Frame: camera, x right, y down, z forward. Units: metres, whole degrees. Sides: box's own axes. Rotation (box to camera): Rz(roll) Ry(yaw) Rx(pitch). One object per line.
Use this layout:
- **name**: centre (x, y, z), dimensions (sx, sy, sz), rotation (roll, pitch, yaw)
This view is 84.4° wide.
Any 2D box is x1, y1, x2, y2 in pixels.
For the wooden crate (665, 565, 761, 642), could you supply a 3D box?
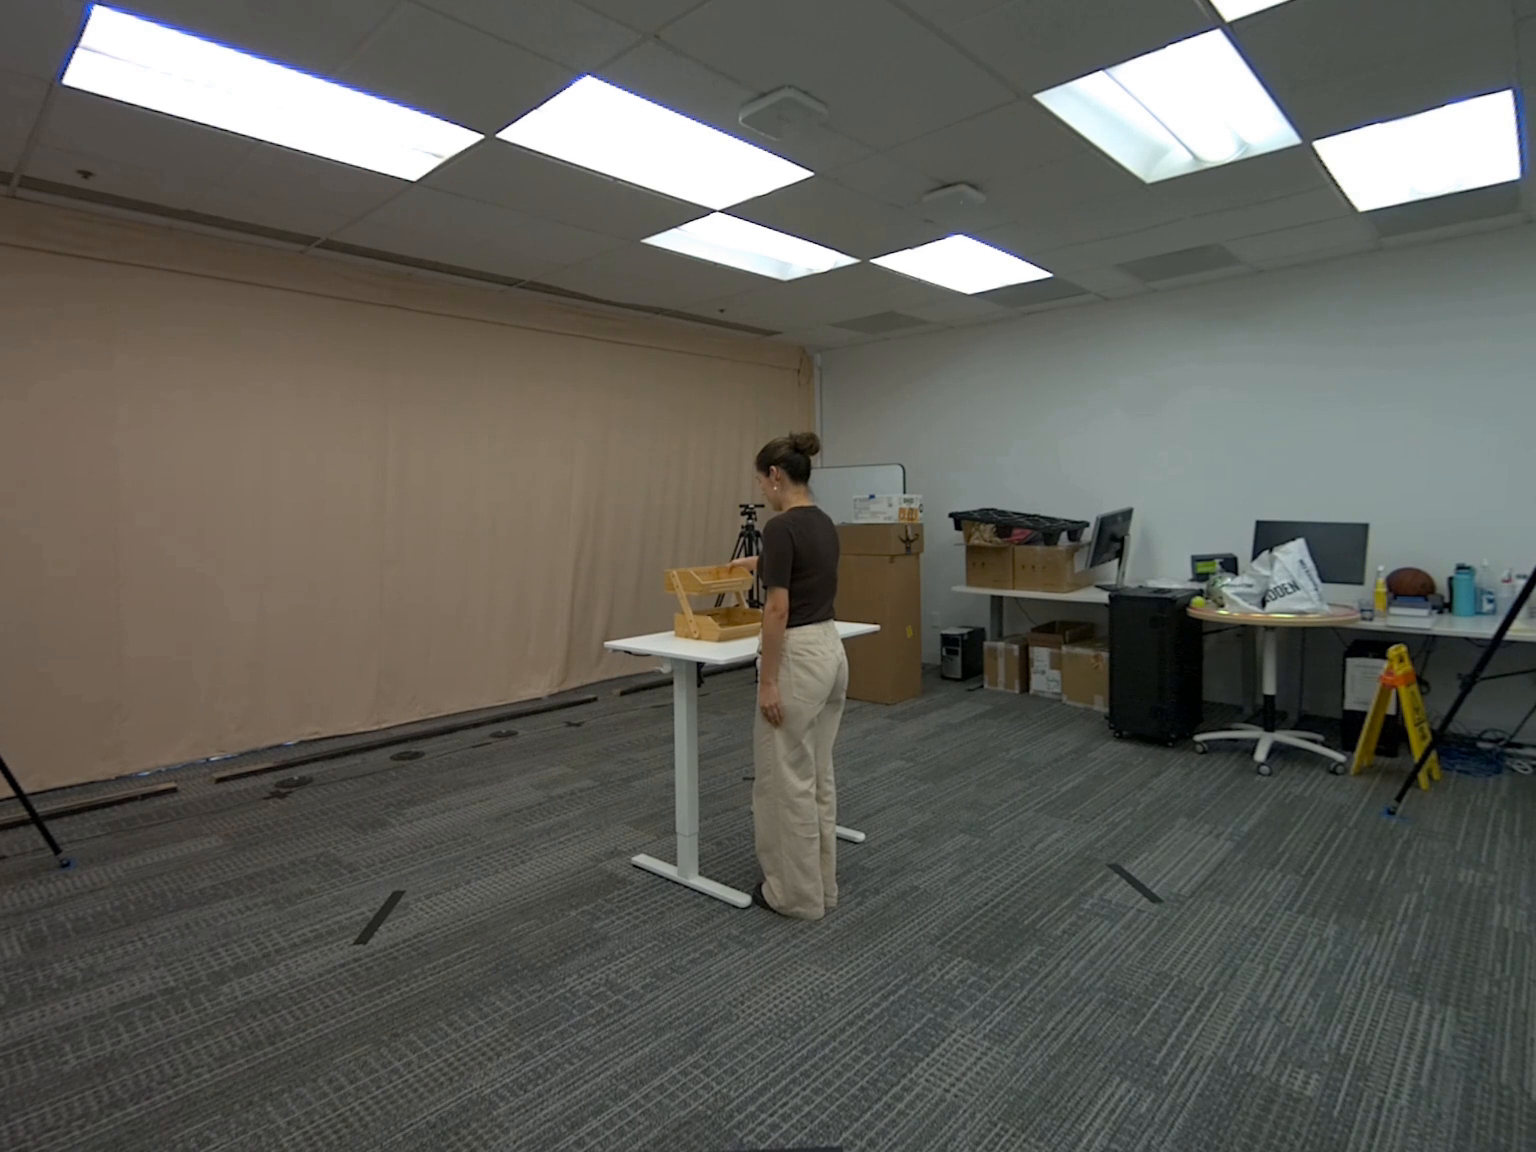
- **wooden crate**: centre (-0.194, 0.100, 3.321), dimensions (0.312, 0.273, 0.314), rotation (1, 3, 42)
